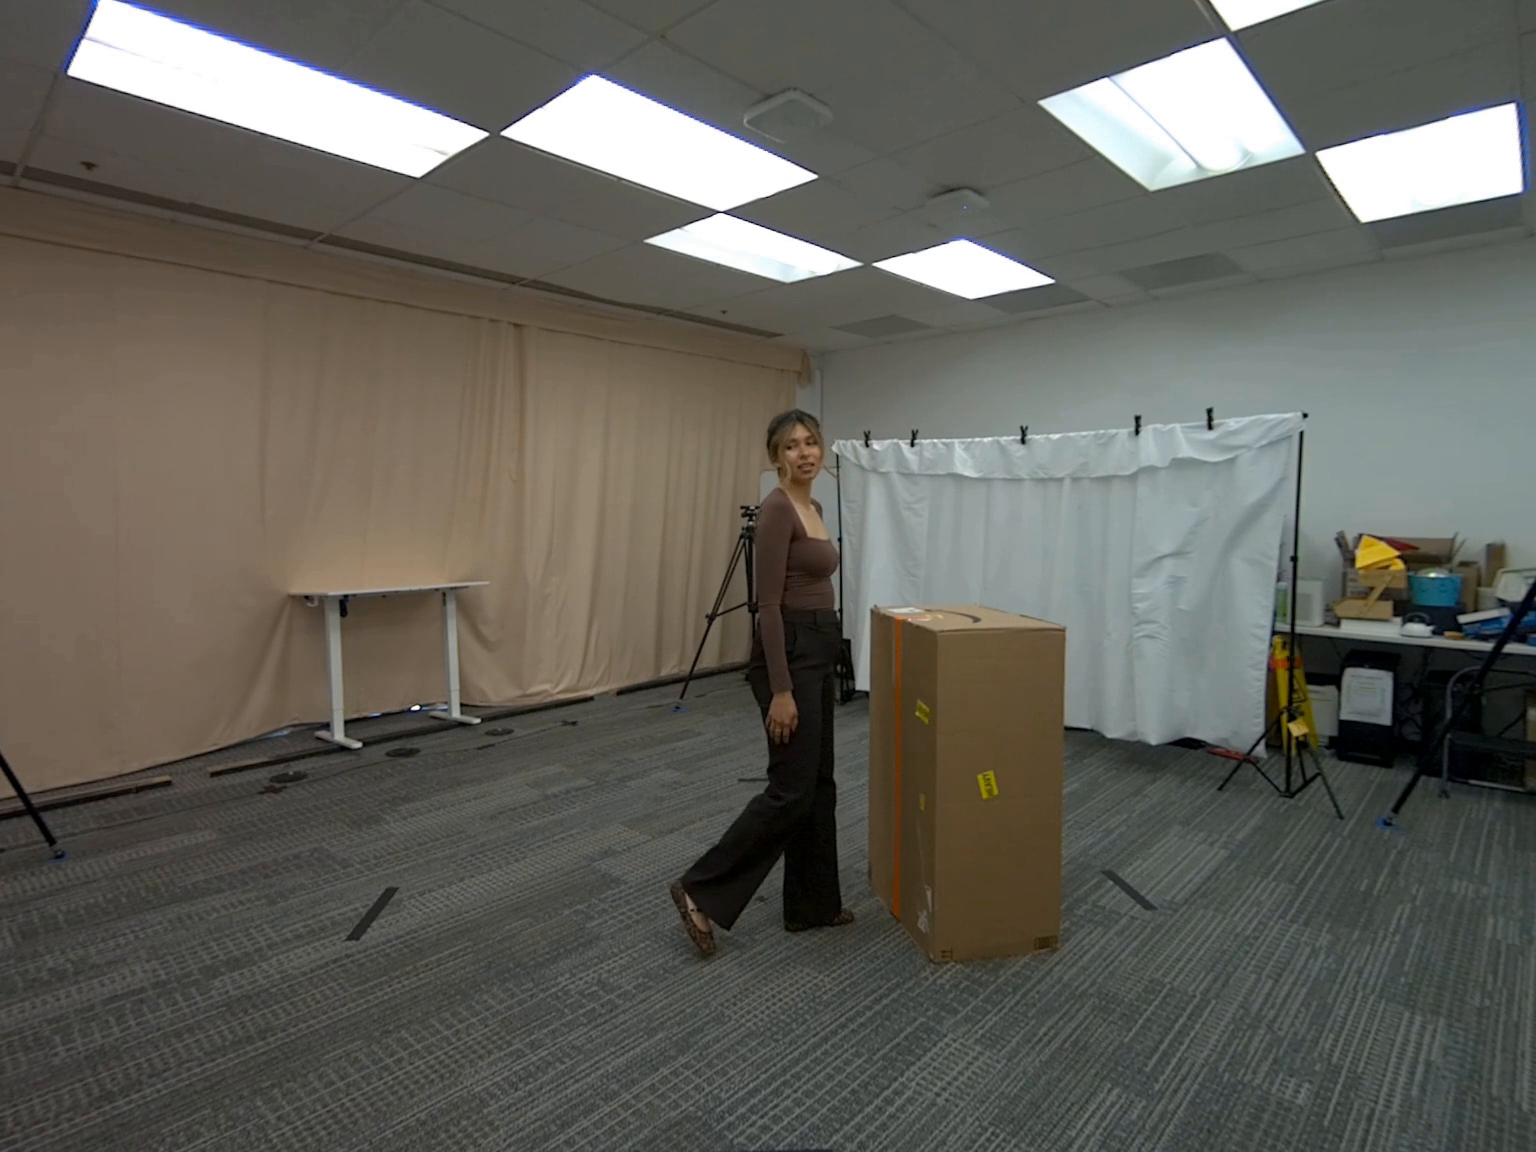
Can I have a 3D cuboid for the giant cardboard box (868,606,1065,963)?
[{"bbox_3d":[0.648,0.639,2.843,0.442,1.025,0.592,0,3,-12],"label":"giant cardboard box"}]
